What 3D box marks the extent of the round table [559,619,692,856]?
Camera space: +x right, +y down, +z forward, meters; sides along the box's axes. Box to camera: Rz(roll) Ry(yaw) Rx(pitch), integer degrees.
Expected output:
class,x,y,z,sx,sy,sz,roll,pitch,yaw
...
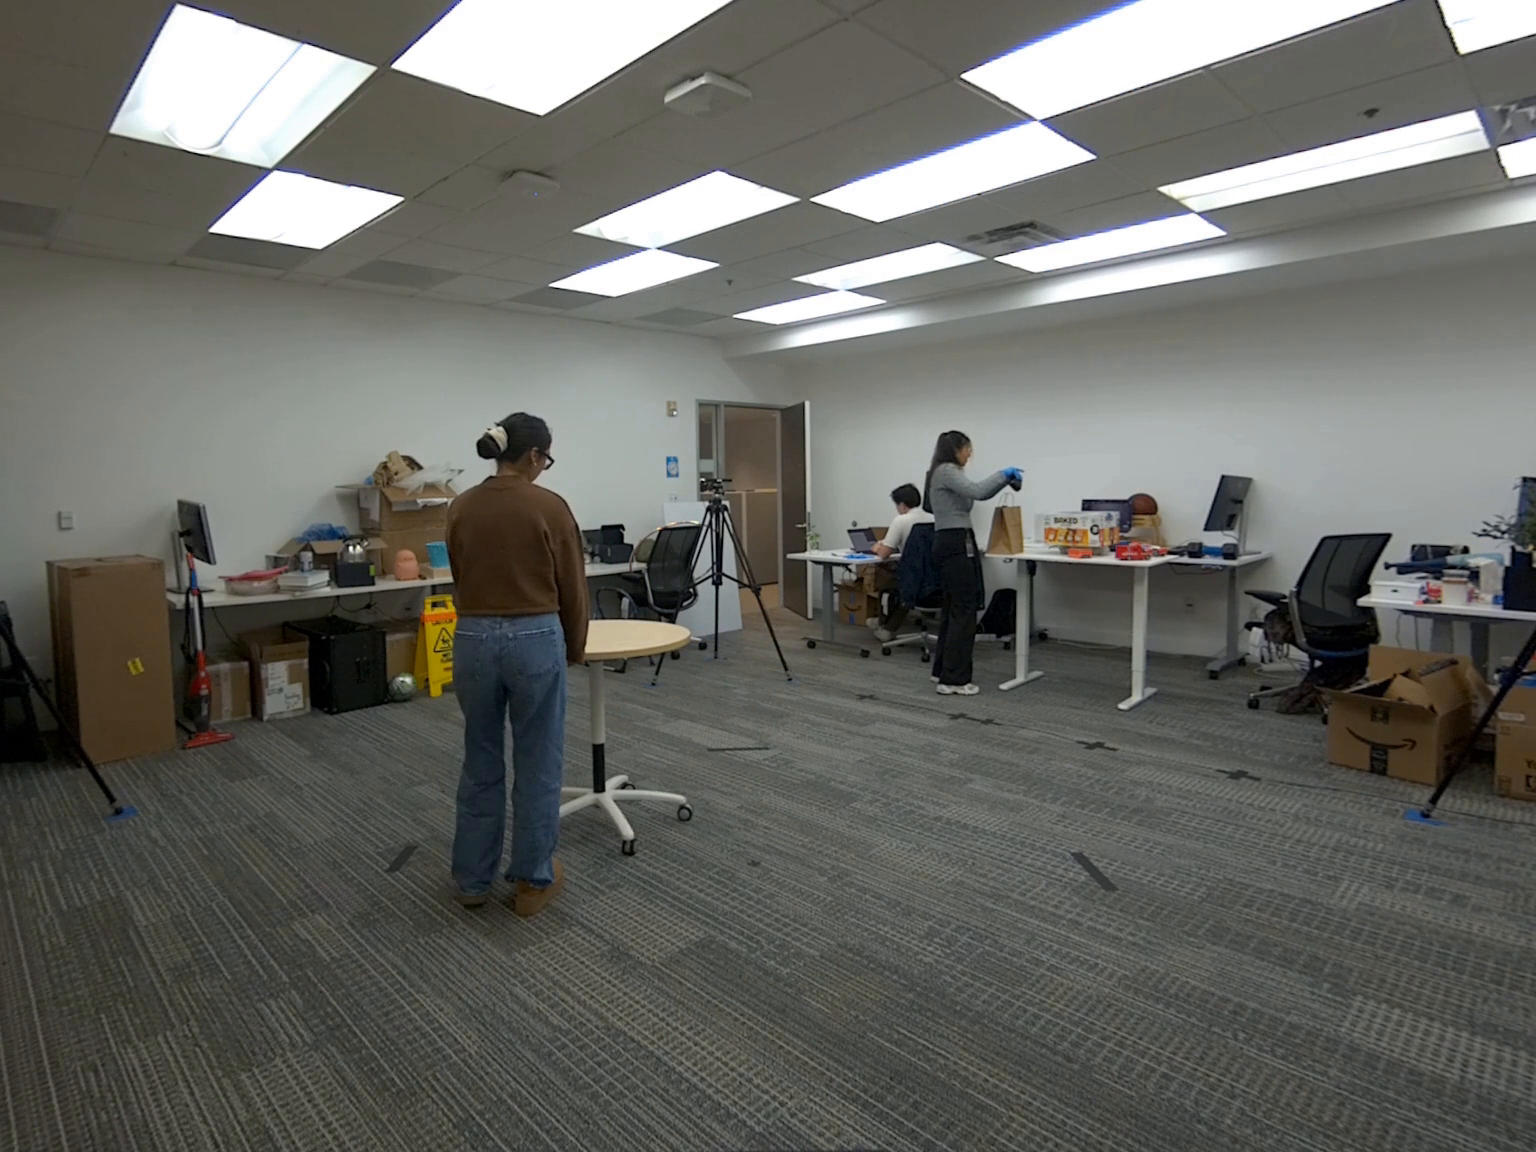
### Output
class,x,y,z,sx,sy,sz,roll,pitch,yaw
round table,-0.683,0.629,3.456,0.763,0.791,0.767,-1,4,-2
